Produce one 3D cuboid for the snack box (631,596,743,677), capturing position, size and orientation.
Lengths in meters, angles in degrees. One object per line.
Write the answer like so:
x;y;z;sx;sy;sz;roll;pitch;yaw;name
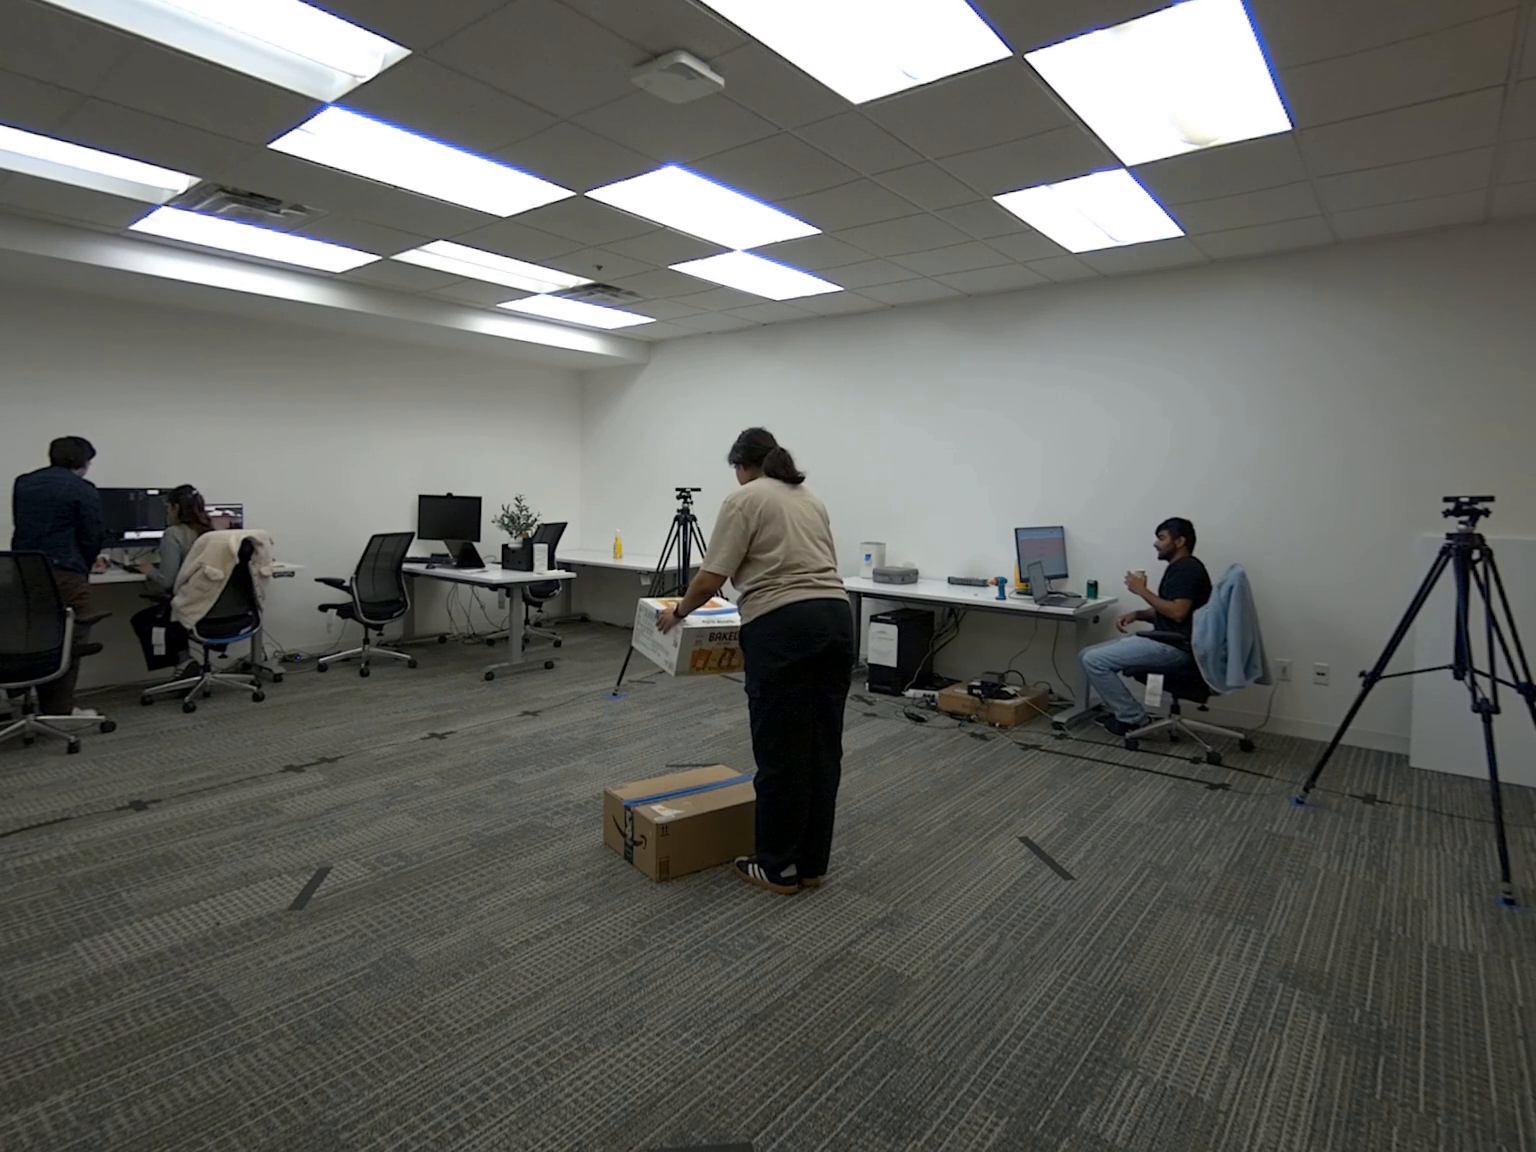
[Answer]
-0.286;0.235;3.397;0.393;0.204;0.354;0;16;-37;snack box
